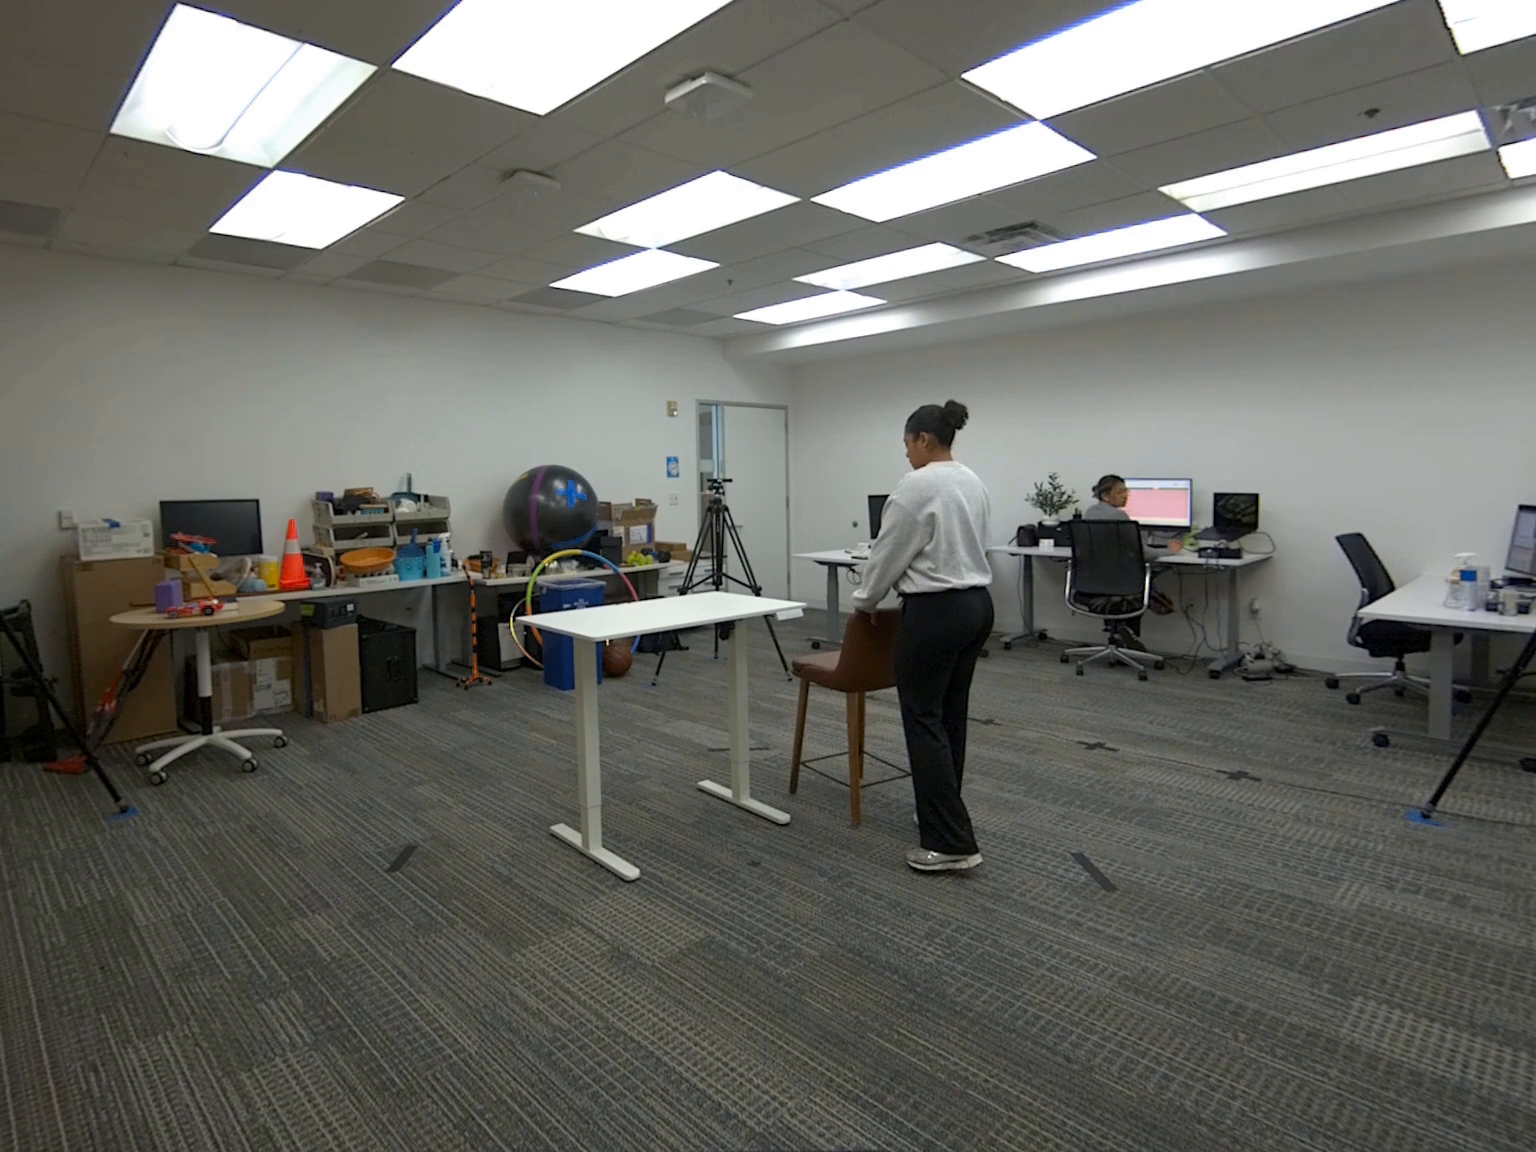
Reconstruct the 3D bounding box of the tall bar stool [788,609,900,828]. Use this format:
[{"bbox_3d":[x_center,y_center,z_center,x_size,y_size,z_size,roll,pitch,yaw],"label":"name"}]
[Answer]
[{"bbox_3d":[0.385,0.538,3.662,0.445,0.885,0.482,-3,7,-32],"label":"tall bar stool"}]
